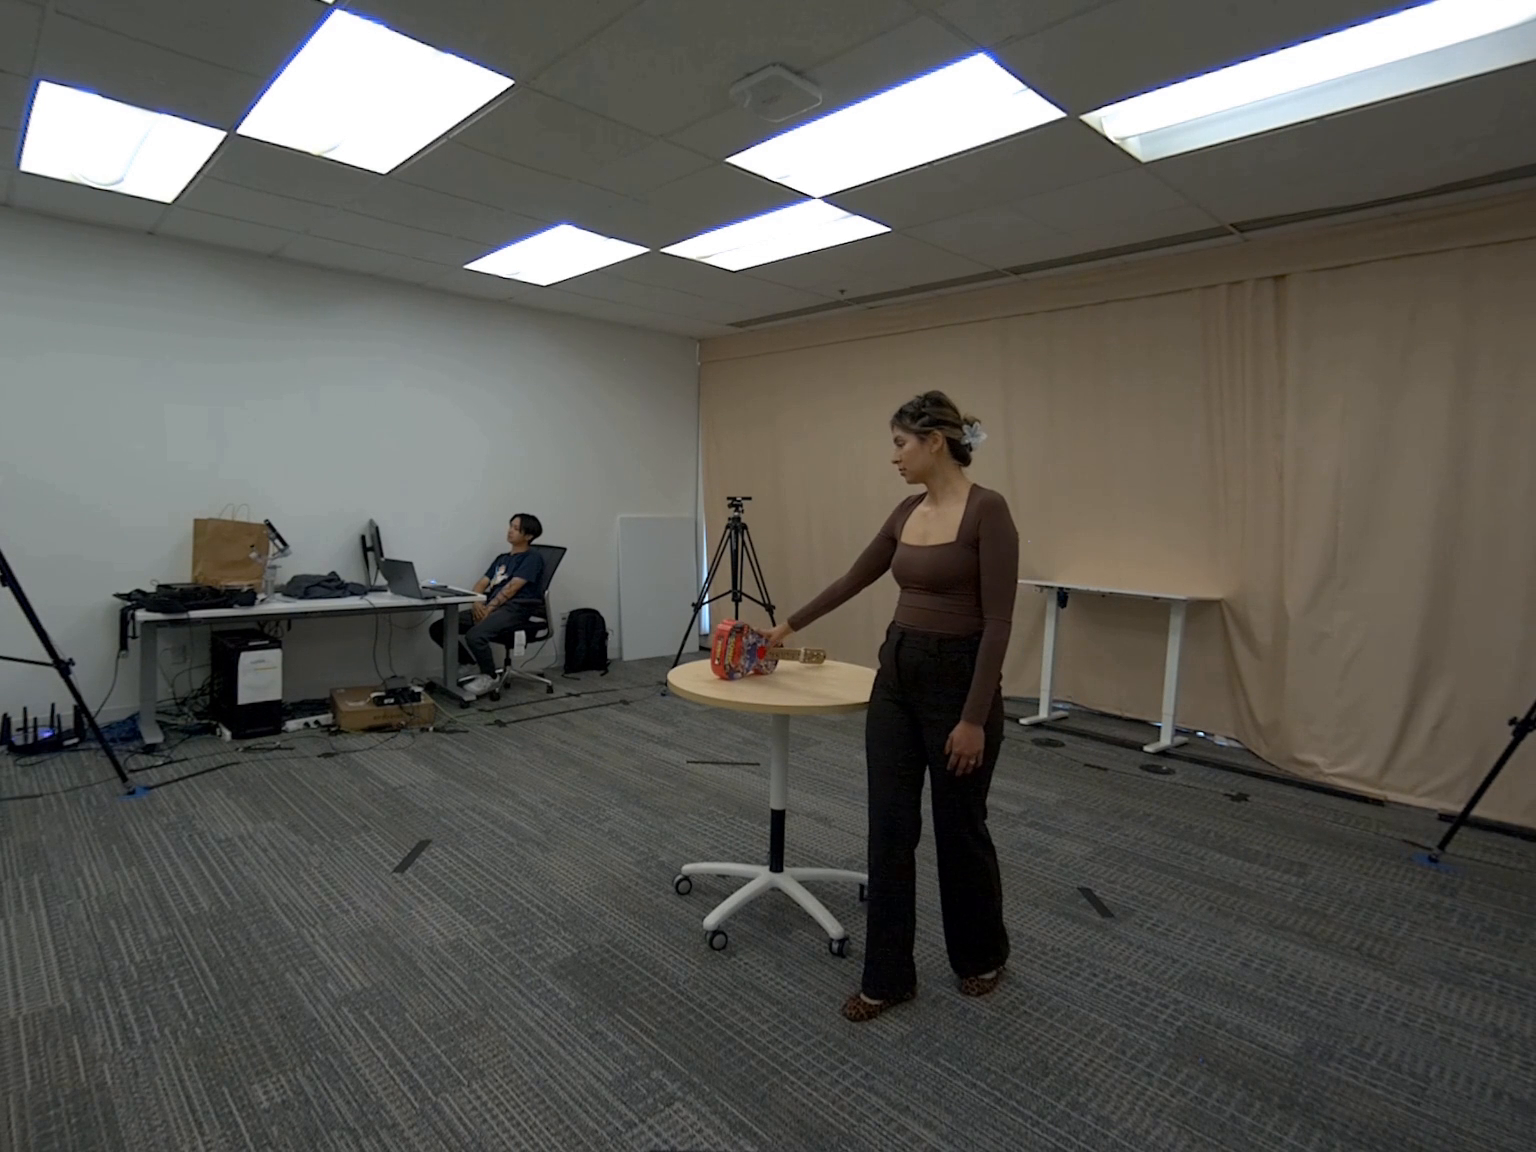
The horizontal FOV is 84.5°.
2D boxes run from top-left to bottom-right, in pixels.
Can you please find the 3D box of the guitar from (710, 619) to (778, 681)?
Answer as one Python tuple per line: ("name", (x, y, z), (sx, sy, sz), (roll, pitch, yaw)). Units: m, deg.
("guitar", (0.005, 0.292, 2.881), (0.483, 0.194, 0.072), (22, -11, -42))
